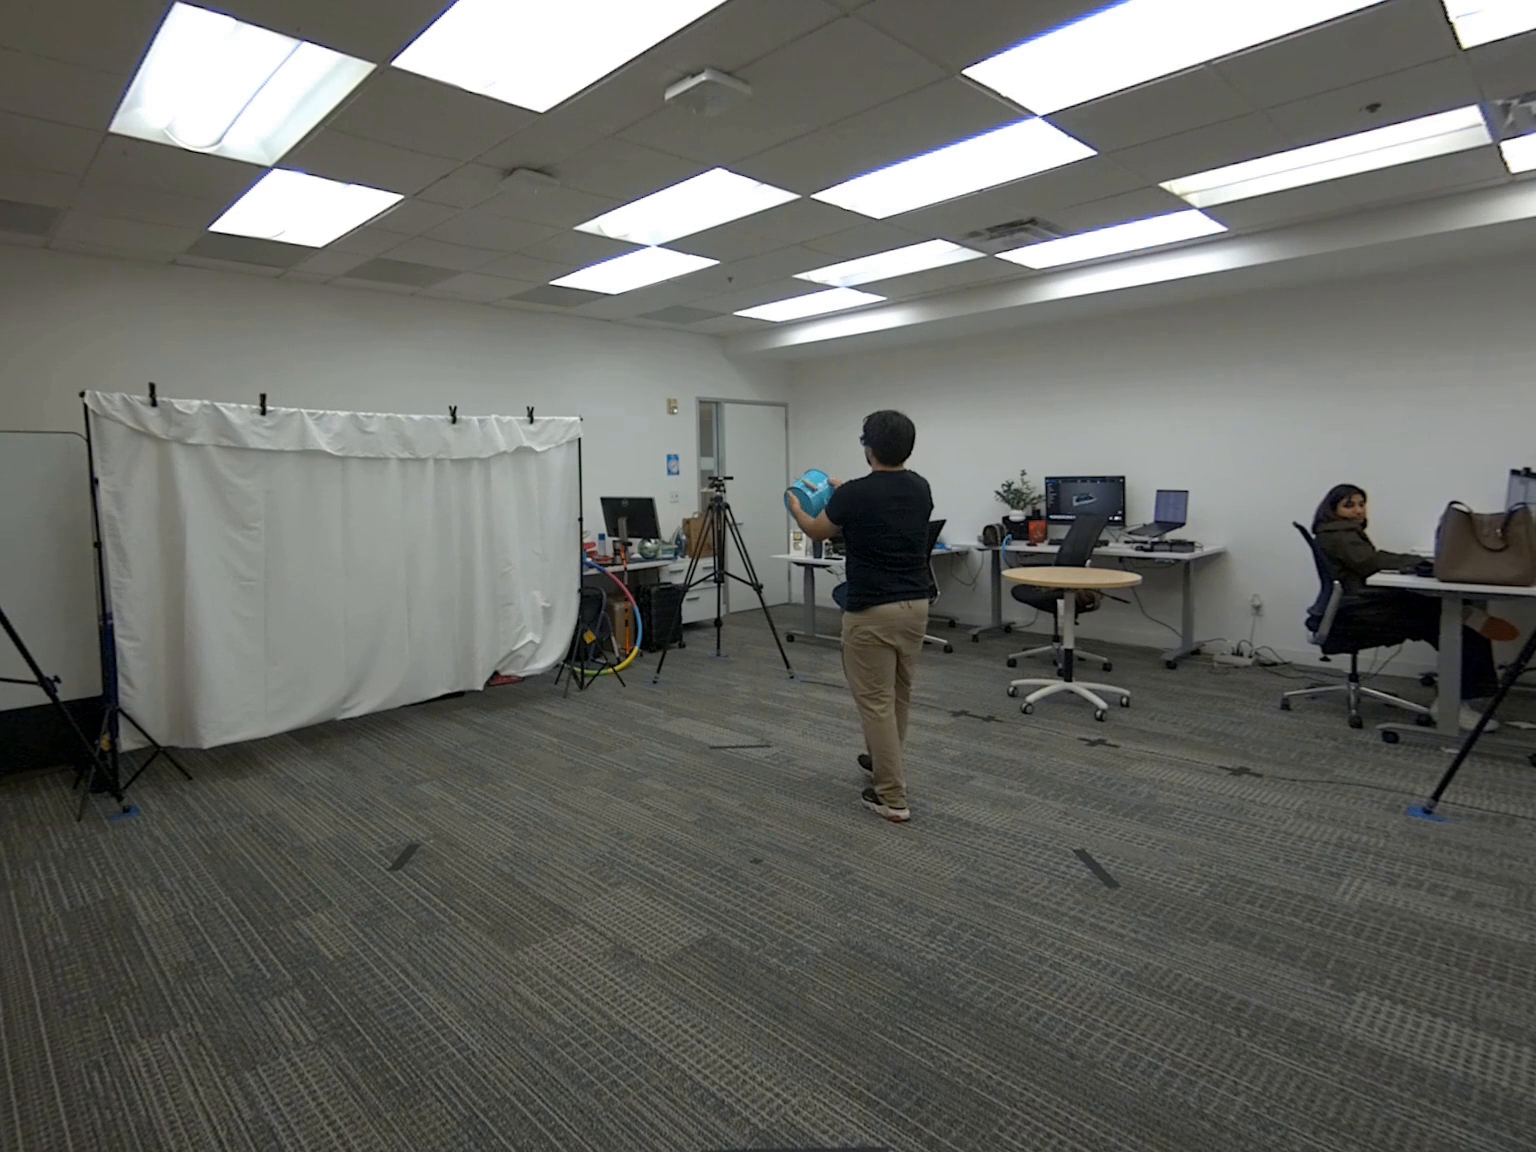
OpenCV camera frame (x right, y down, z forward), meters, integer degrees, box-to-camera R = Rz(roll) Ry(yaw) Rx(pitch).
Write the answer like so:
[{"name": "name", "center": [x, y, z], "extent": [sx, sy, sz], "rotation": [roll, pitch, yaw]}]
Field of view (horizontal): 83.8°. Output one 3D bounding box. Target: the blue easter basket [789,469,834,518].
[{"name": "blue easter basket", "center": [0.193, -0.366, 3.971], "extent": [0.154, 0.238, 0.251], "rotation": [-33, 24, -36]}]
